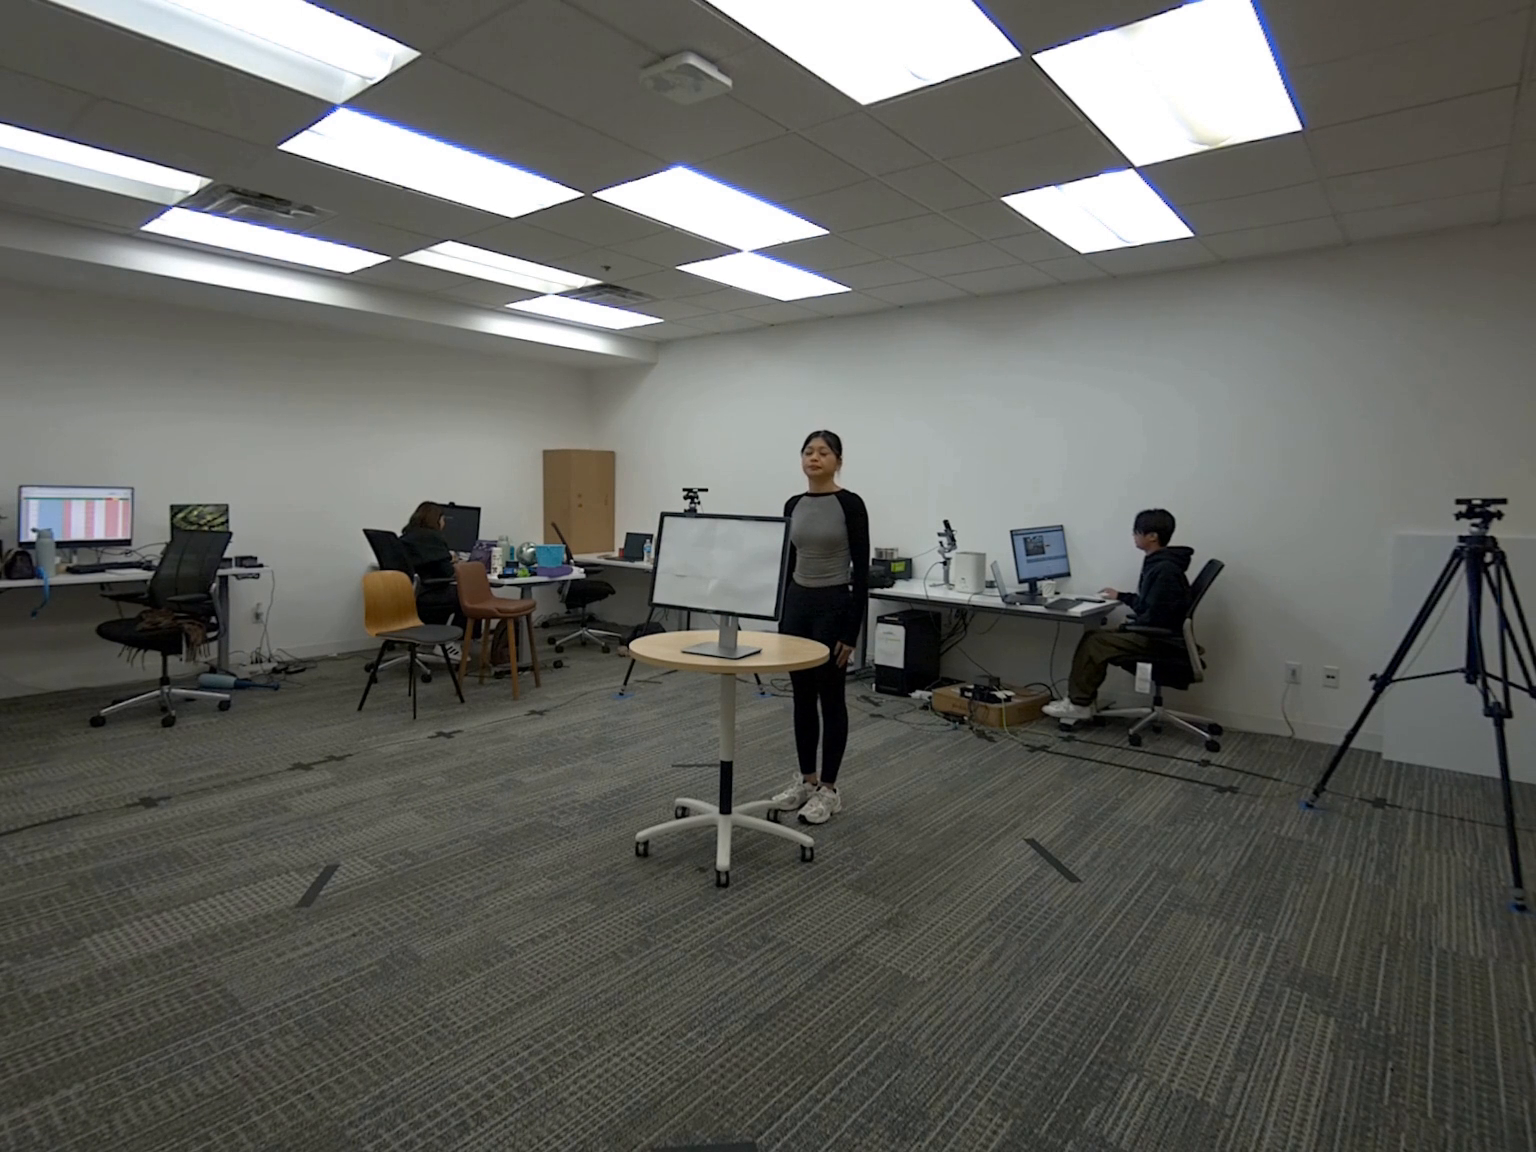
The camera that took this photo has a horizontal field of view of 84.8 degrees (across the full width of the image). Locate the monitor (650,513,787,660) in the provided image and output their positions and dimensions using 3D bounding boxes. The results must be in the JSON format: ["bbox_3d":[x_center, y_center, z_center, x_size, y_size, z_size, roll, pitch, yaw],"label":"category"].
[{"bbox_3d":[-0.176,0.035,3.119,0.555,0.519,0.183,4,7,30],"label":"monitor"}]
